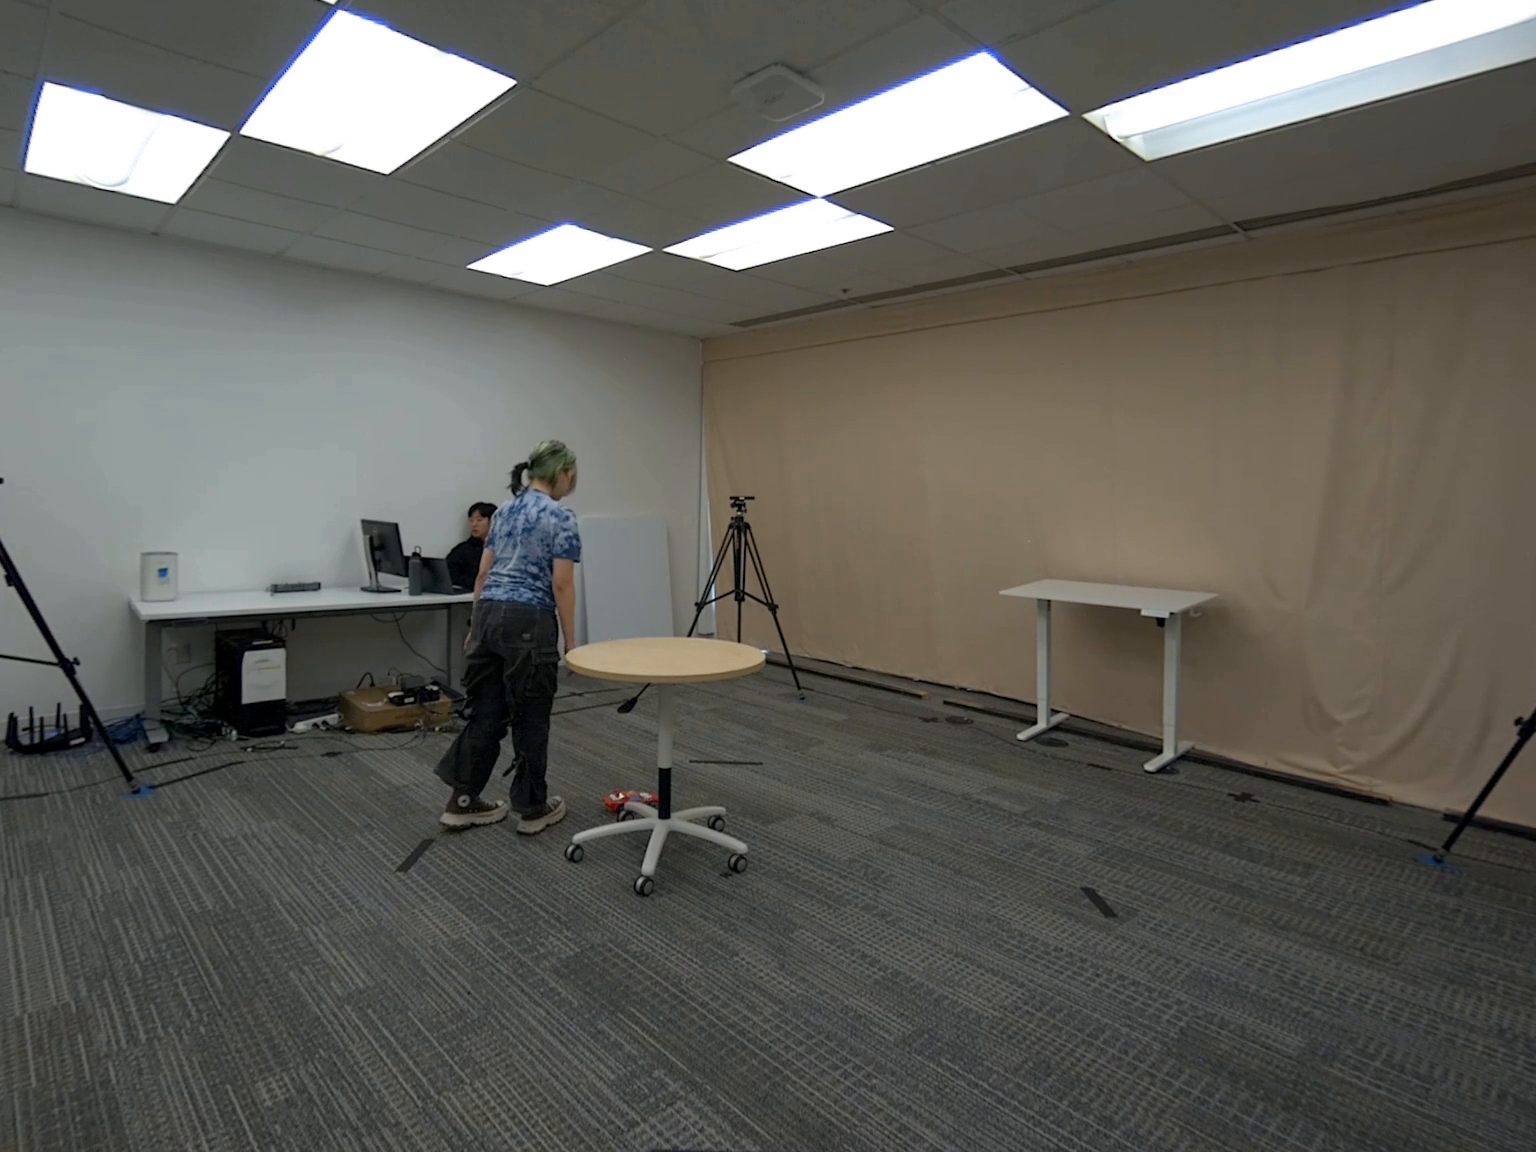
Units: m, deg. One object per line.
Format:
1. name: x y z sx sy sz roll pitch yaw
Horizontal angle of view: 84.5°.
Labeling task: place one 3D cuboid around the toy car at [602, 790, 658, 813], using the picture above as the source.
1. toy car: -0.627 1.006 3.746 0.249 0.083 0.133 12 -2 -27
